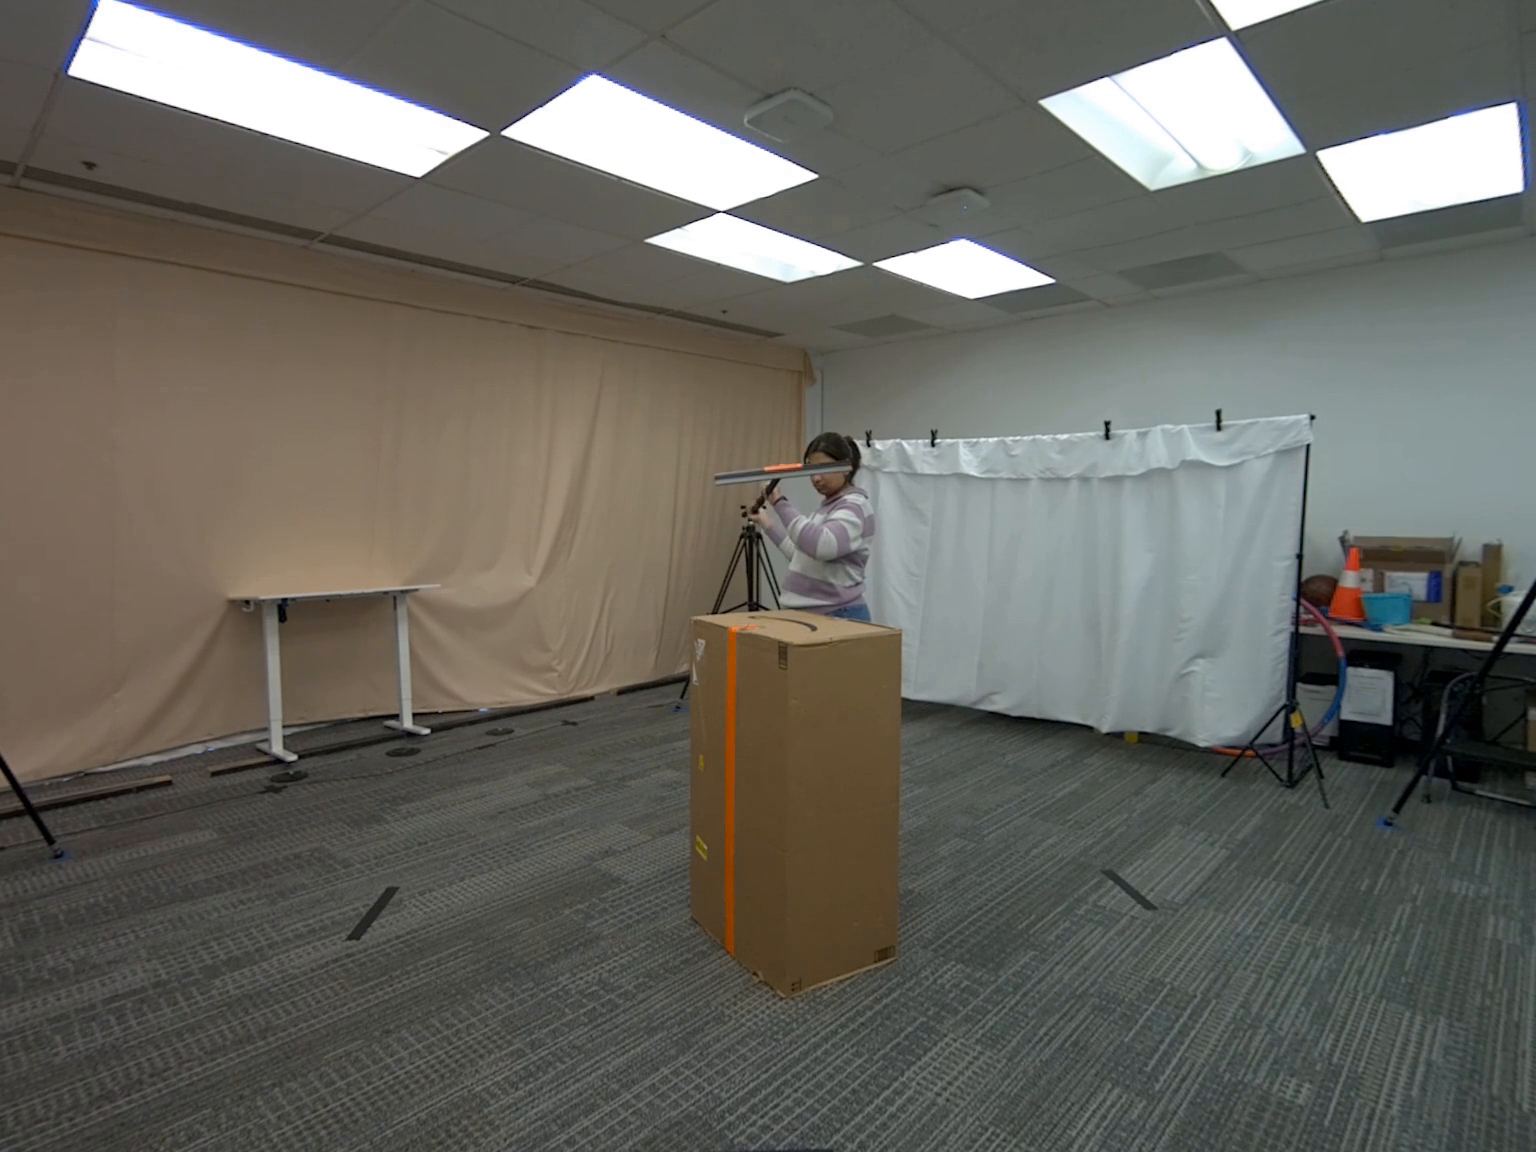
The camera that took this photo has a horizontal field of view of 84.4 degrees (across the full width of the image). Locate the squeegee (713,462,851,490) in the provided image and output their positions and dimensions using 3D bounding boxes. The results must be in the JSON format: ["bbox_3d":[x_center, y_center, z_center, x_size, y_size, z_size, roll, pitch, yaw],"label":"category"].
[{"bbox_3d":[-0.025,-0.308,3.405,0.436,0.053,1.540,-5,-1,-5],"label":"squeegee"}]
